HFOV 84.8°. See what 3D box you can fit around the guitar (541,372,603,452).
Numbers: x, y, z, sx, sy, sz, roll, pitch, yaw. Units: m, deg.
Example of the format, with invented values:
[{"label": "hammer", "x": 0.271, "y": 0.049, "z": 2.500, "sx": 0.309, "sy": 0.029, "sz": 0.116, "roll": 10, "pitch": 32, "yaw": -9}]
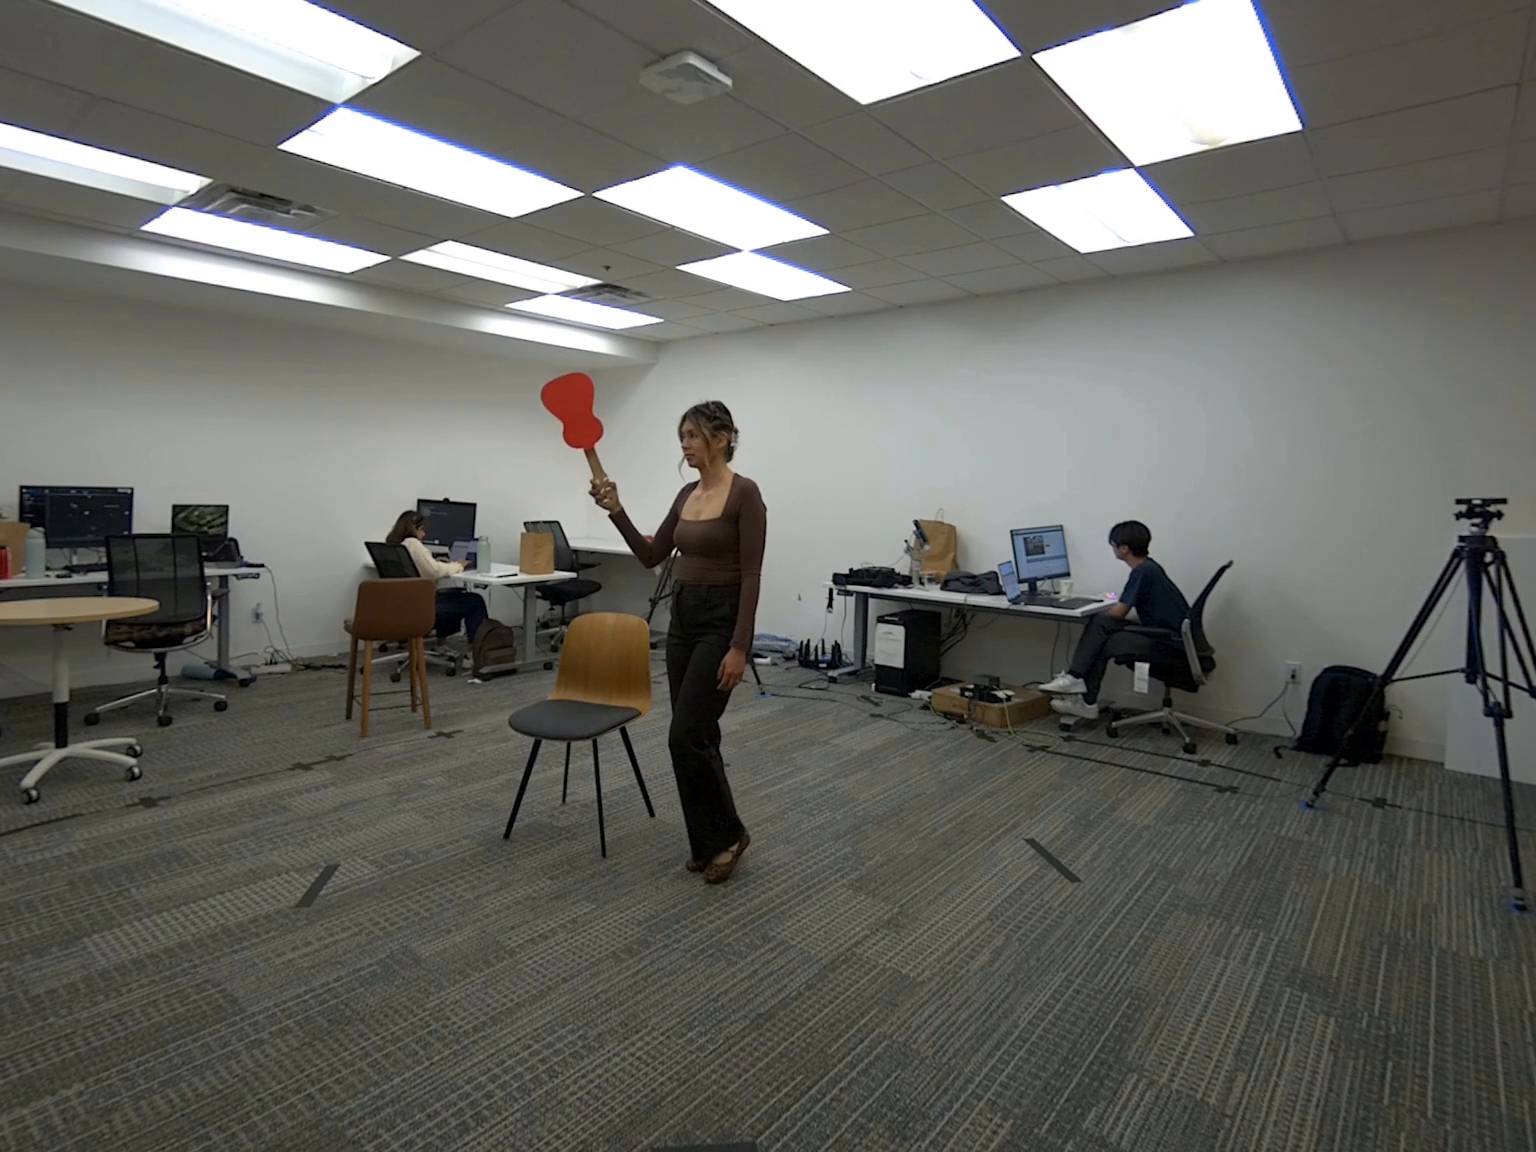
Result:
[{"label": "guitar", "x": -0.655, "y": -0.500, "z": 3.115, "sx": 0.192, "sy": 0.492, "sz": 0.072, "roll": -31, "pitch": 9, "yaw": -7}]
